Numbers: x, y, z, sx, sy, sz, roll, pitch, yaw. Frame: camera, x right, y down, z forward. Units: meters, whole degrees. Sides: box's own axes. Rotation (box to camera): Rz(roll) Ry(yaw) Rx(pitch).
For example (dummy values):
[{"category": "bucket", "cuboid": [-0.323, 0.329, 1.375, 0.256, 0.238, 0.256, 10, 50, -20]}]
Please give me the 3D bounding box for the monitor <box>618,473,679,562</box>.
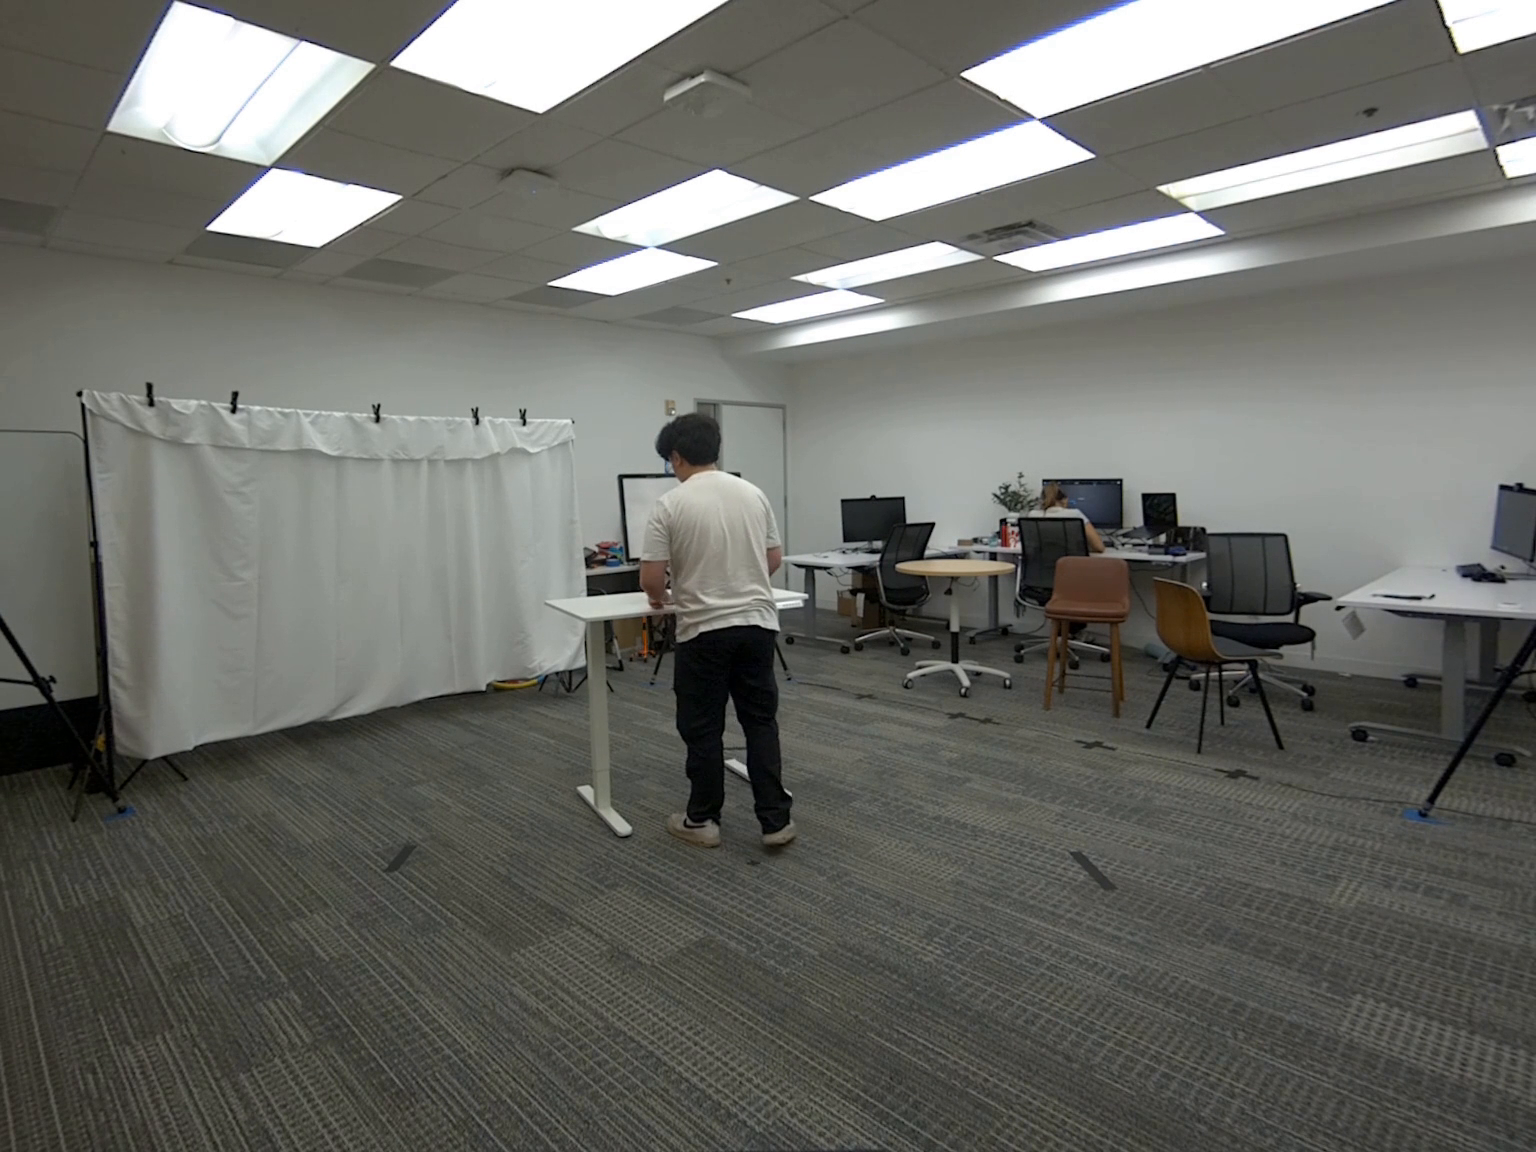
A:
[{"category": "monitor", "cuboid": [-0.377, -0.162, 3.652, 0.553, 0.554, 0.215, -5, 0, -27]}]
